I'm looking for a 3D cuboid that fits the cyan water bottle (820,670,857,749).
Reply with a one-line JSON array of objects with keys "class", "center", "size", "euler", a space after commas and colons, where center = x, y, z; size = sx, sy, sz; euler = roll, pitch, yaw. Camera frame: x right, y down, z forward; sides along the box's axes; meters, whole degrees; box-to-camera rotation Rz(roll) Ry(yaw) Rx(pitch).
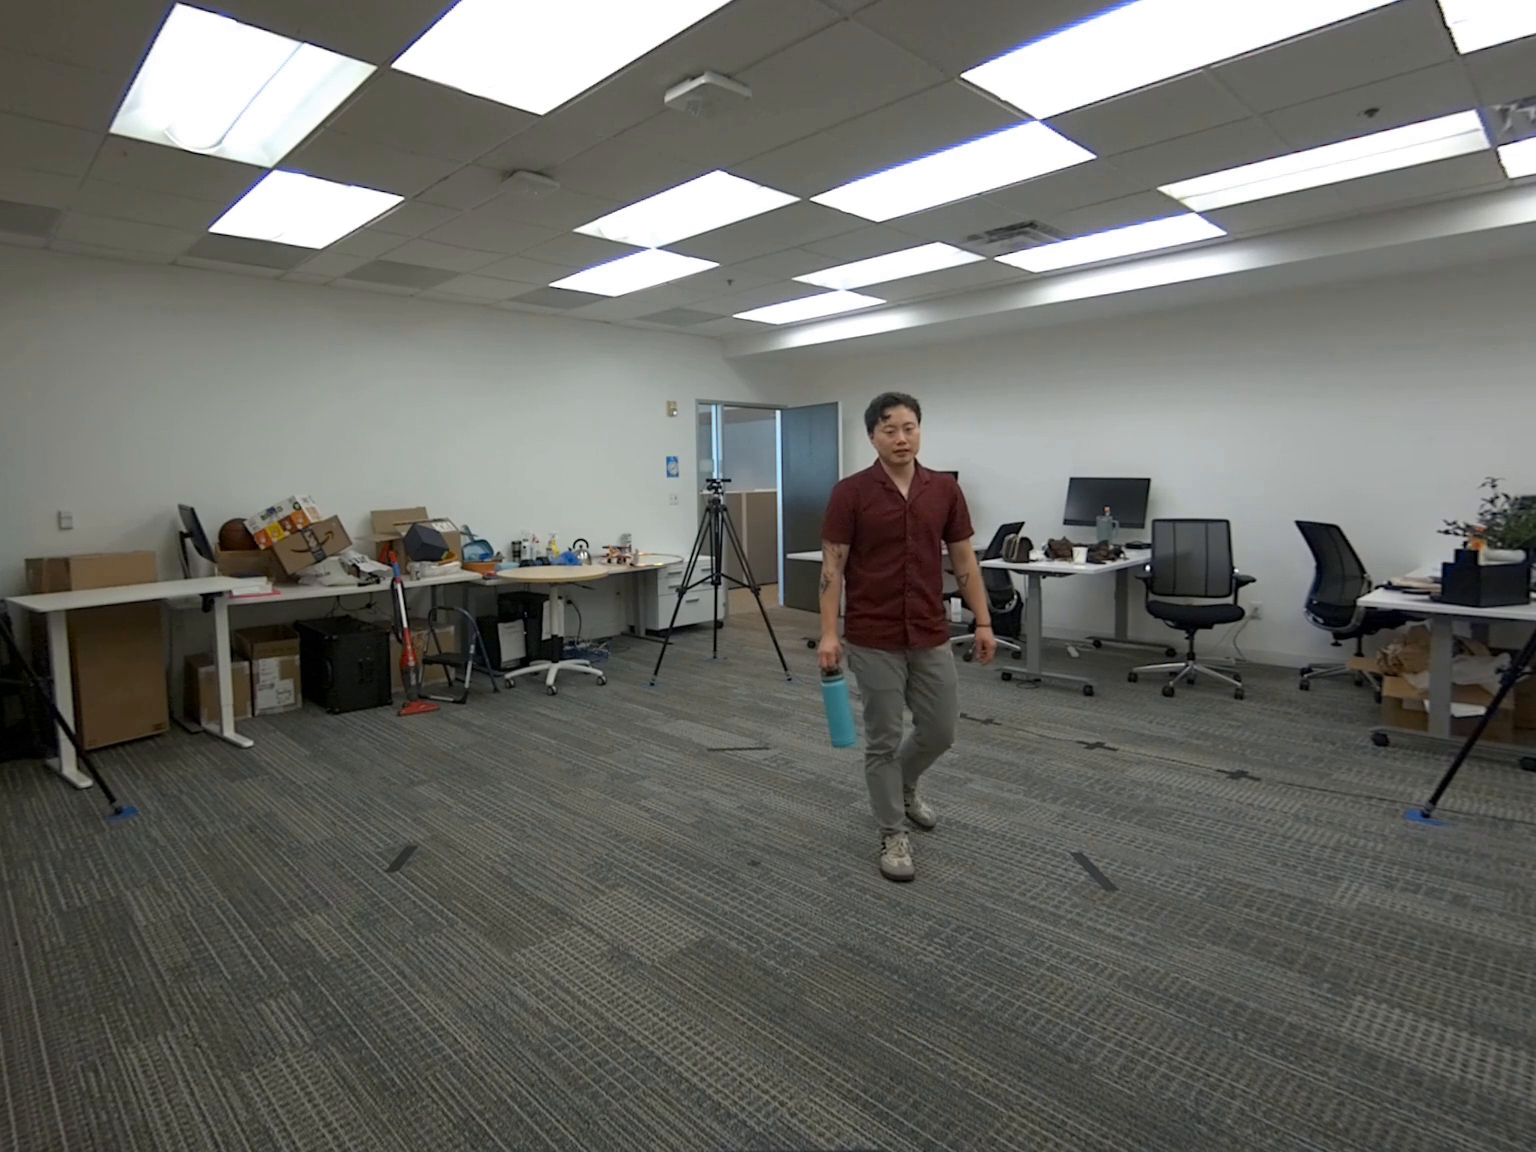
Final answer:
[{"class": "cyan water bottle", "center": [0.246, 0.445, 2.964], "size": [0.092, 0.282, 0.092], "euler": [-9, 3, -1]}]
